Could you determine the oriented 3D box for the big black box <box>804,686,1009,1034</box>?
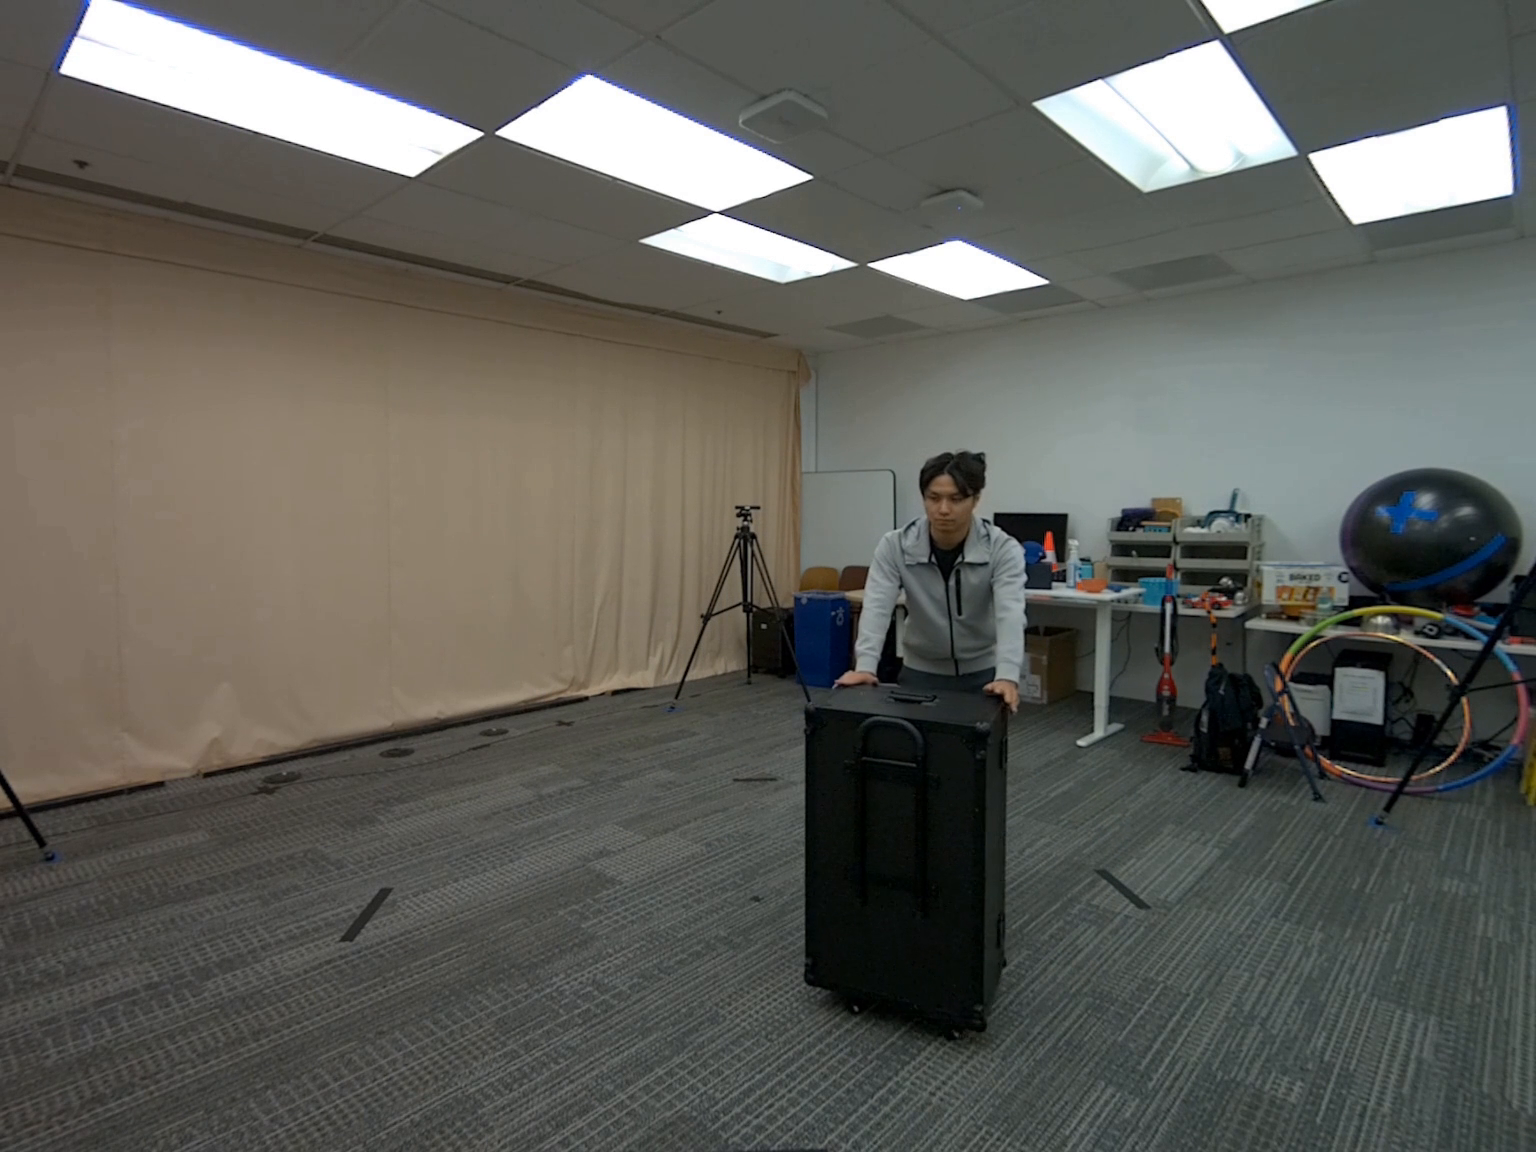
[{"bbox_3d":[0.395,0.770,2.347,0.535,0.859,0.387,2,5,26],"label":"big black box"}]
